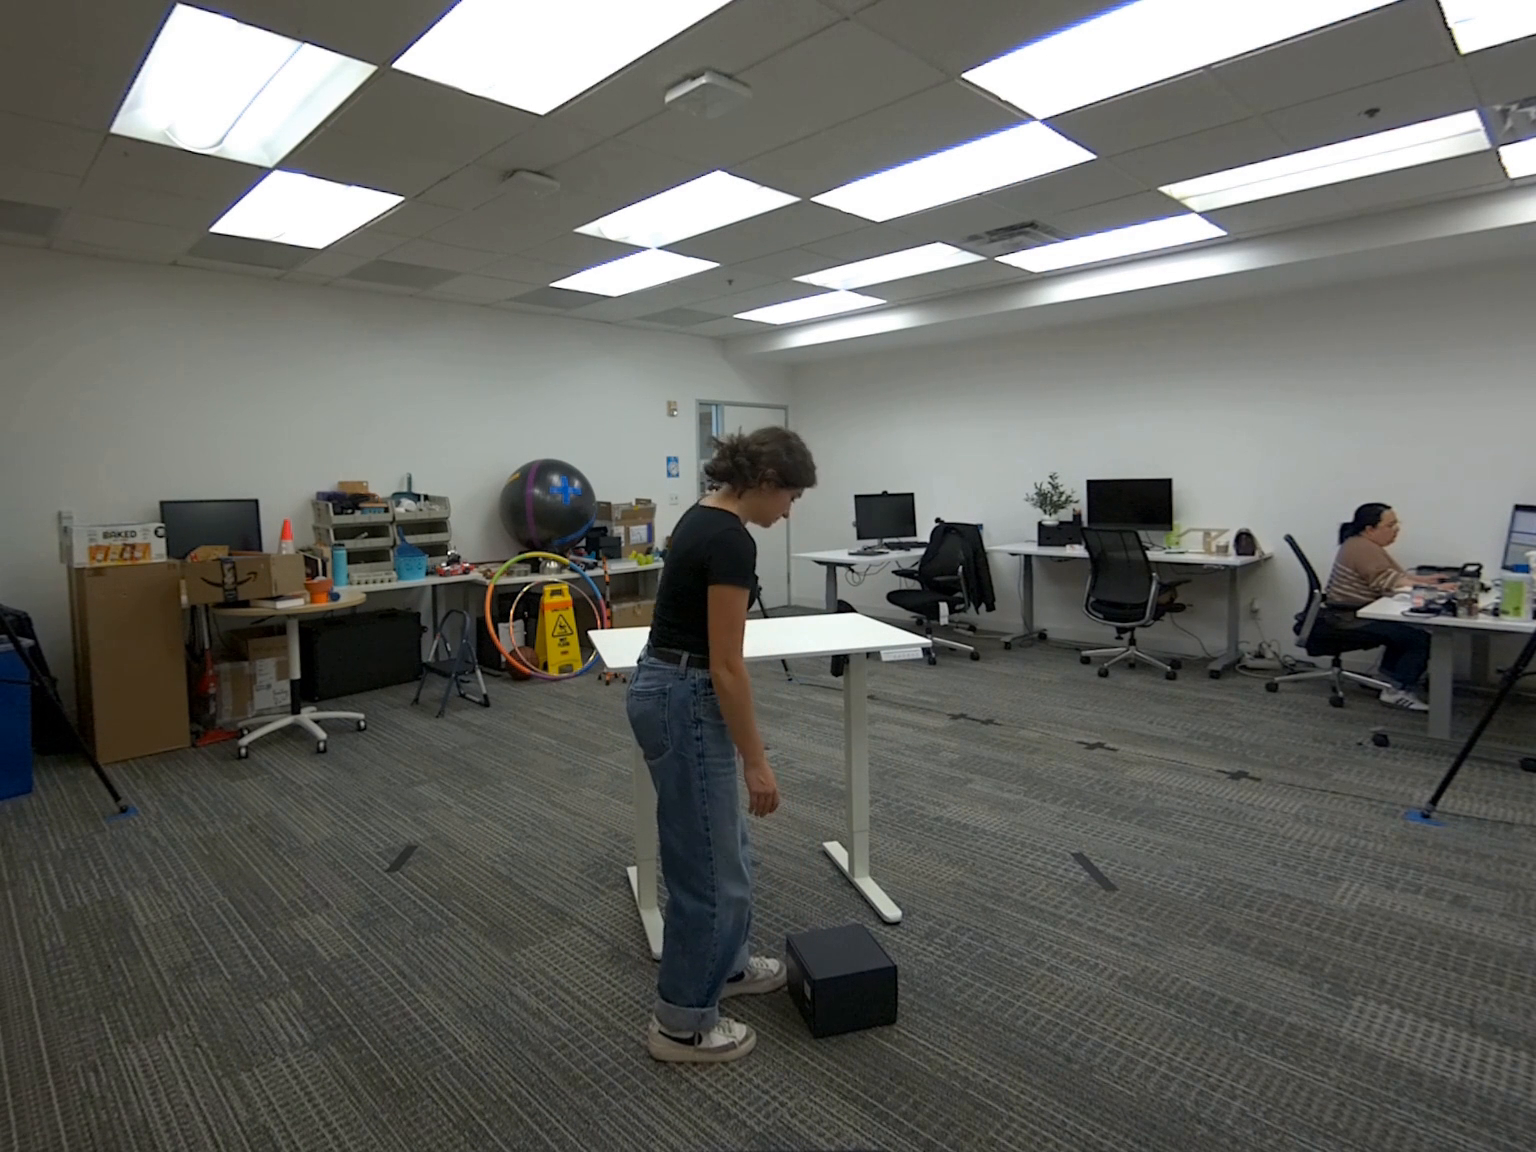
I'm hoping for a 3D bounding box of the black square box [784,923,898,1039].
[{"bbox_3d":[0.194,1.058,2.251,0.224,0.155,0.221,-3,6,-17],"label":"black square box"}]
